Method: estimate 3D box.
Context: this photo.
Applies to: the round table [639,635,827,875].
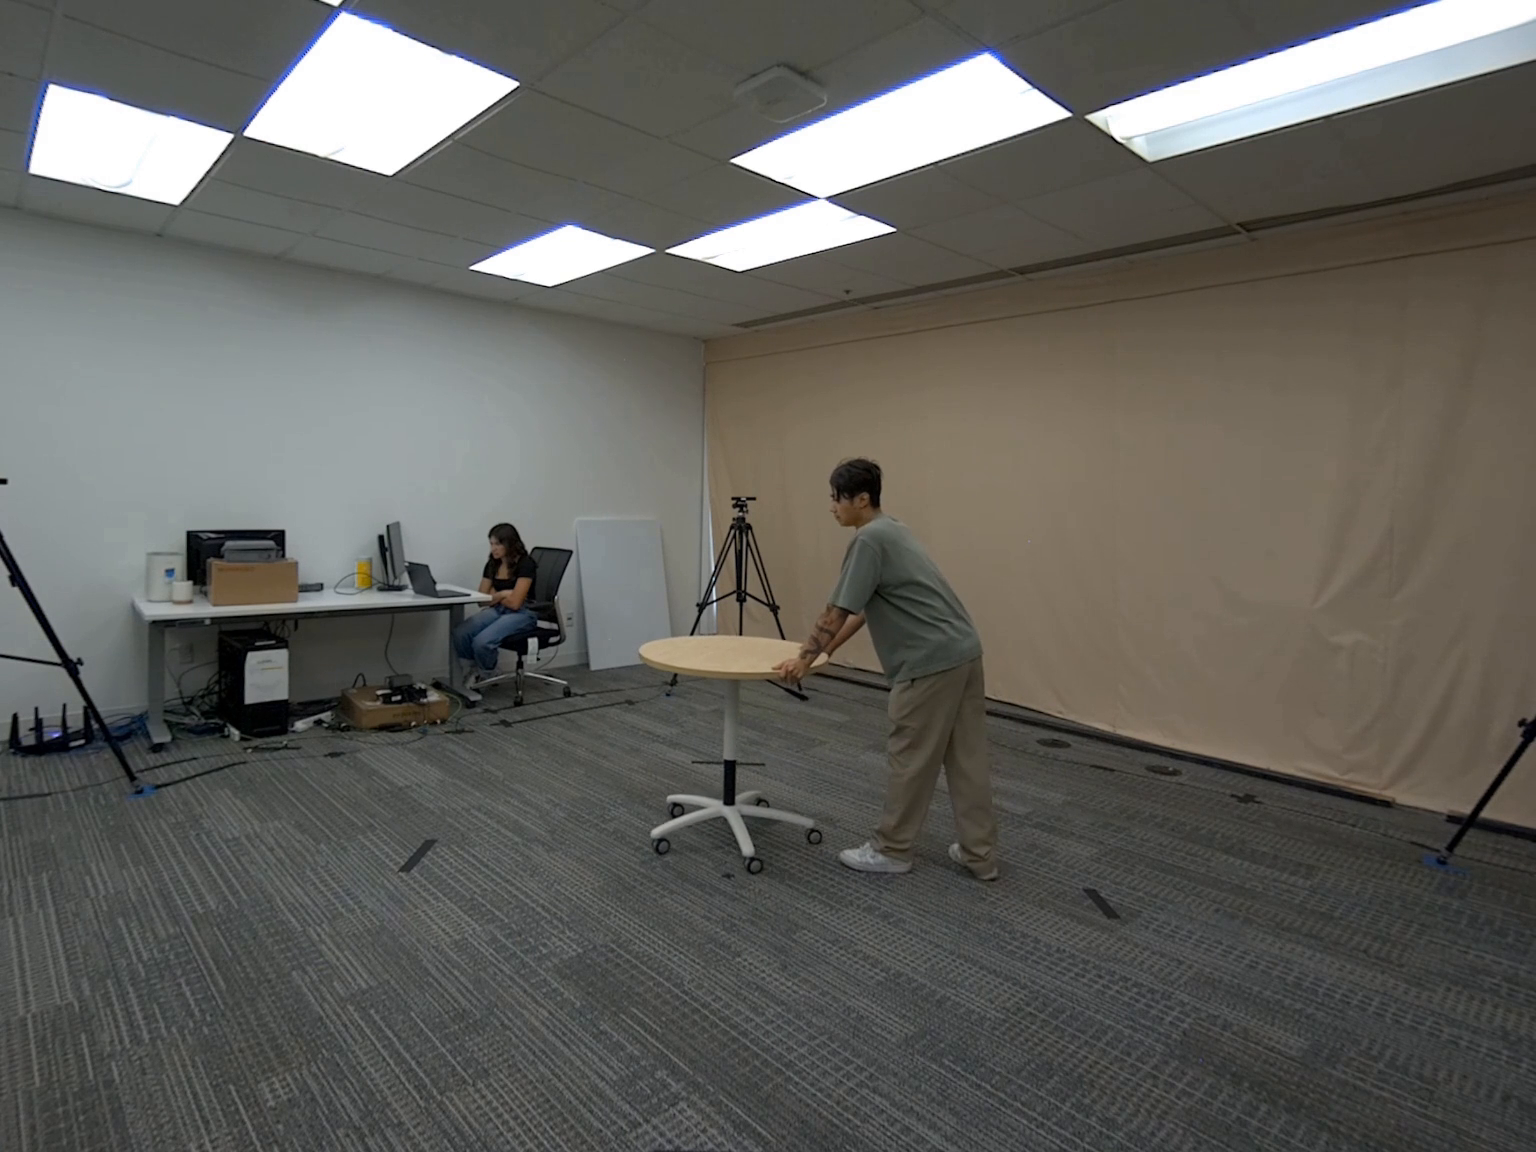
[{"bbox_3d":[-0.161,0.687,3.454,0.784,0.784,0.788,2,4,-2],"label":"round table"}]
